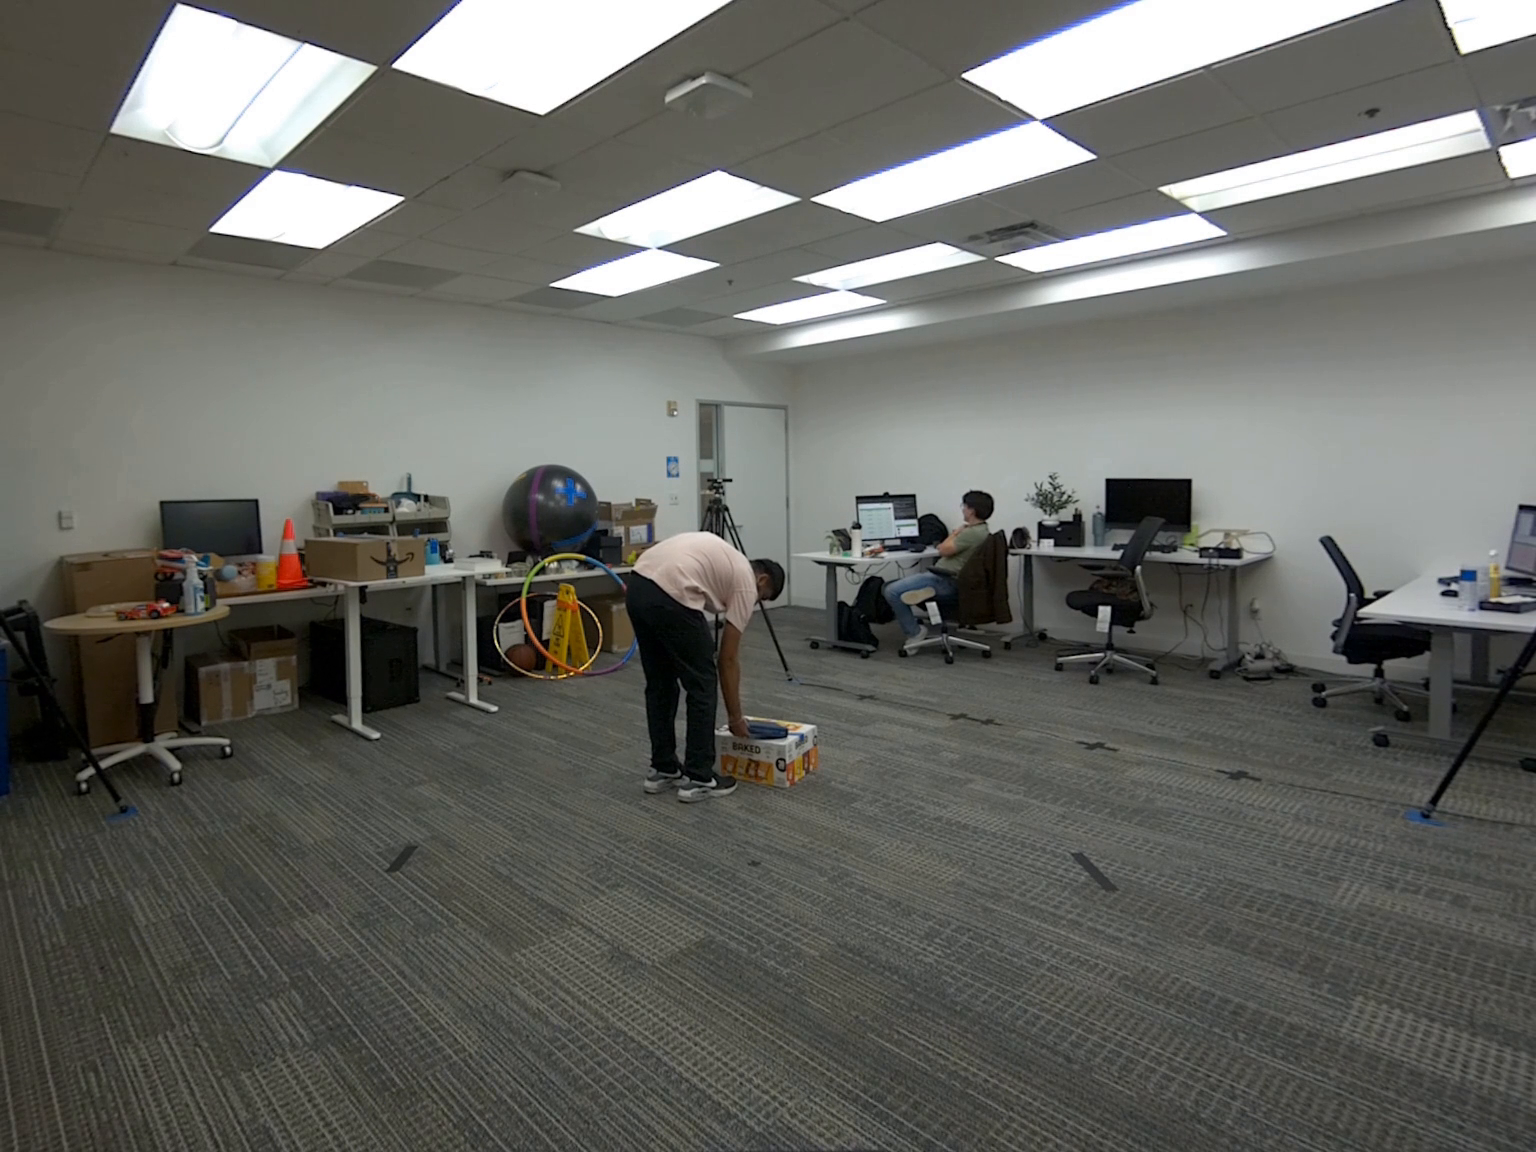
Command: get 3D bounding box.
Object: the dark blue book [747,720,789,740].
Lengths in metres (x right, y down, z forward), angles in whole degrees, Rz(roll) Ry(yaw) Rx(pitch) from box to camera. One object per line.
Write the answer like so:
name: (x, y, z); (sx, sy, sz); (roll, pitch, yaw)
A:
dark blue book: (-0.047, 0.707, 3.988); (0.239, 0.045, 0.167); (8, -1, -23)
